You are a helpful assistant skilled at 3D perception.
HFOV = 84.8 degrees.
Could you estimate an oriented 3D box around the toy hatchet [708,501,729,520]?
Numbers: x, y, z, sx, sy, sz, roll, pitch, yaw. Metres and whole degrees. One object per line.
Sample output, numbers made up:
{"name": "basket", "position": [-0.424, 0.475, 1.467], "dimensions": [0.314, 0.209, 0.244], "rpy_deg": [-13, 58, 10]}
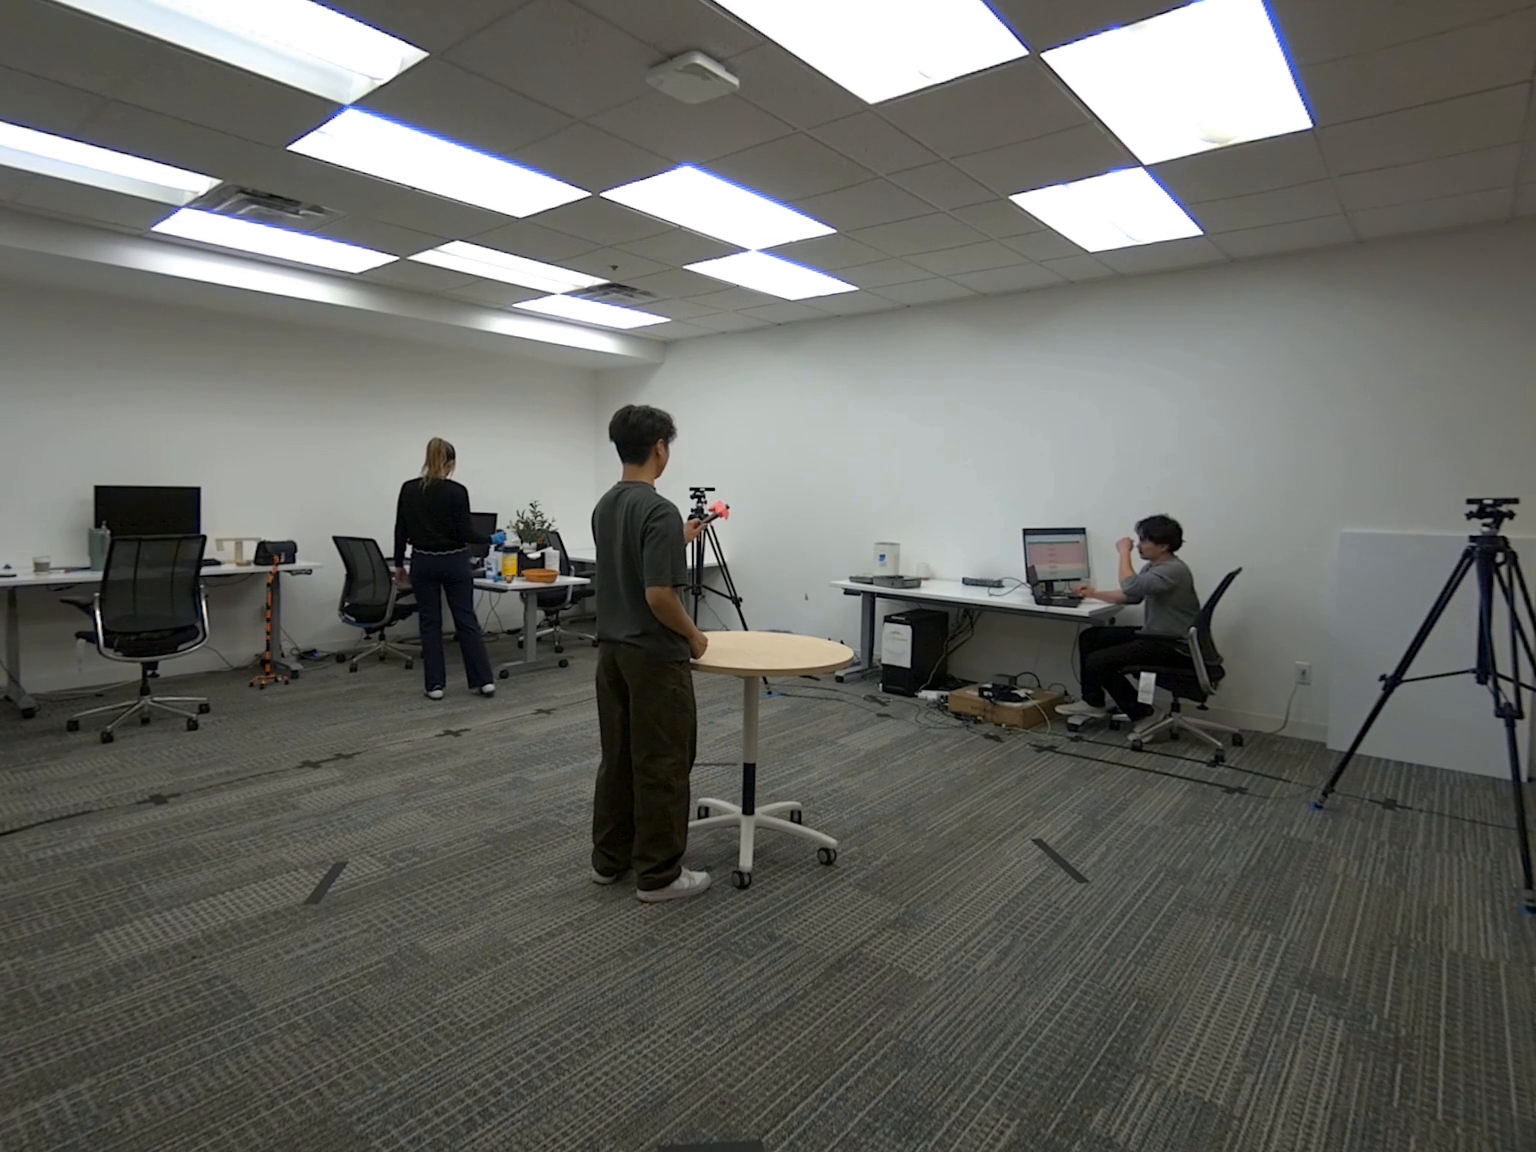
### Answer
{"name": "toy hatchet", "position": [-0.282, -0.228, 3.351], "dimensions": [0.274, 0.135, 0.028], "rpy_deg": [-20, -47, 22]}
